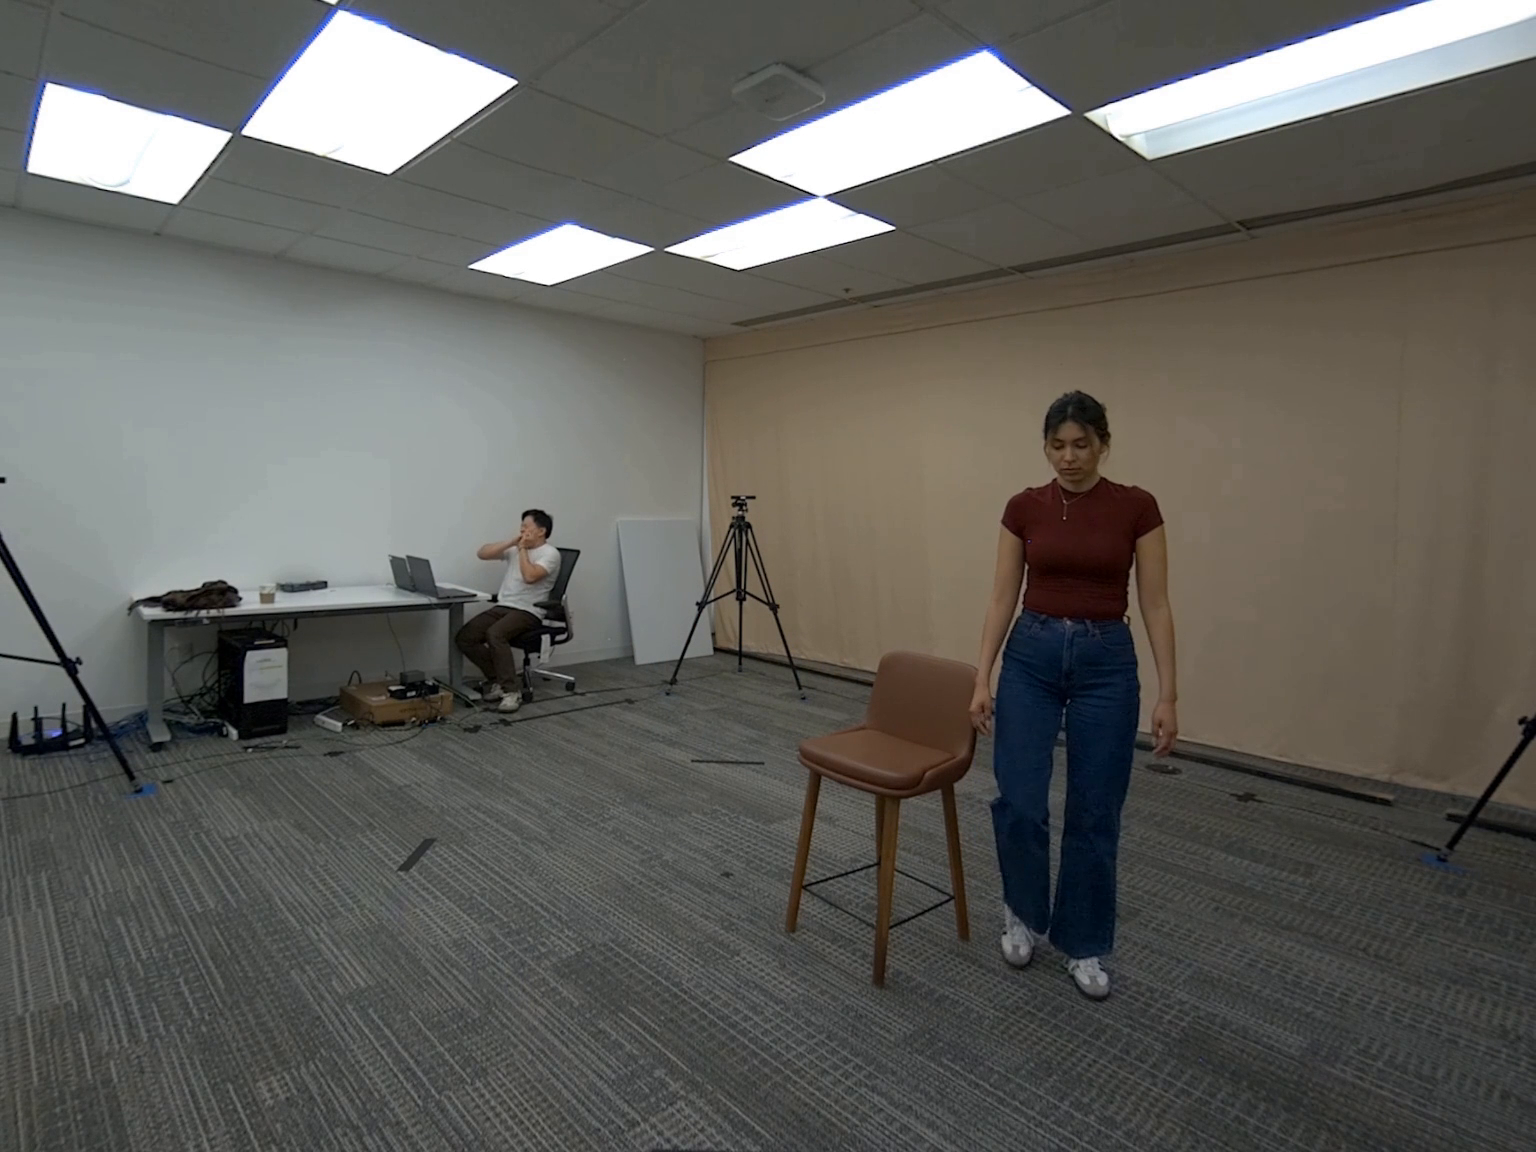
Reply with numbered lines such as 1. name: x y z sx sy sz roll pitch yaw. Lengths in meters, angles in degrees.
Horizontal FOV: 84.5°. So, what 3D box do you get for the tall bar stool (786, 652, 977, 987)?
1. tall bar stool: 0.366 0.722 2.674 0.456 0.888 0.468 1 4 -39
